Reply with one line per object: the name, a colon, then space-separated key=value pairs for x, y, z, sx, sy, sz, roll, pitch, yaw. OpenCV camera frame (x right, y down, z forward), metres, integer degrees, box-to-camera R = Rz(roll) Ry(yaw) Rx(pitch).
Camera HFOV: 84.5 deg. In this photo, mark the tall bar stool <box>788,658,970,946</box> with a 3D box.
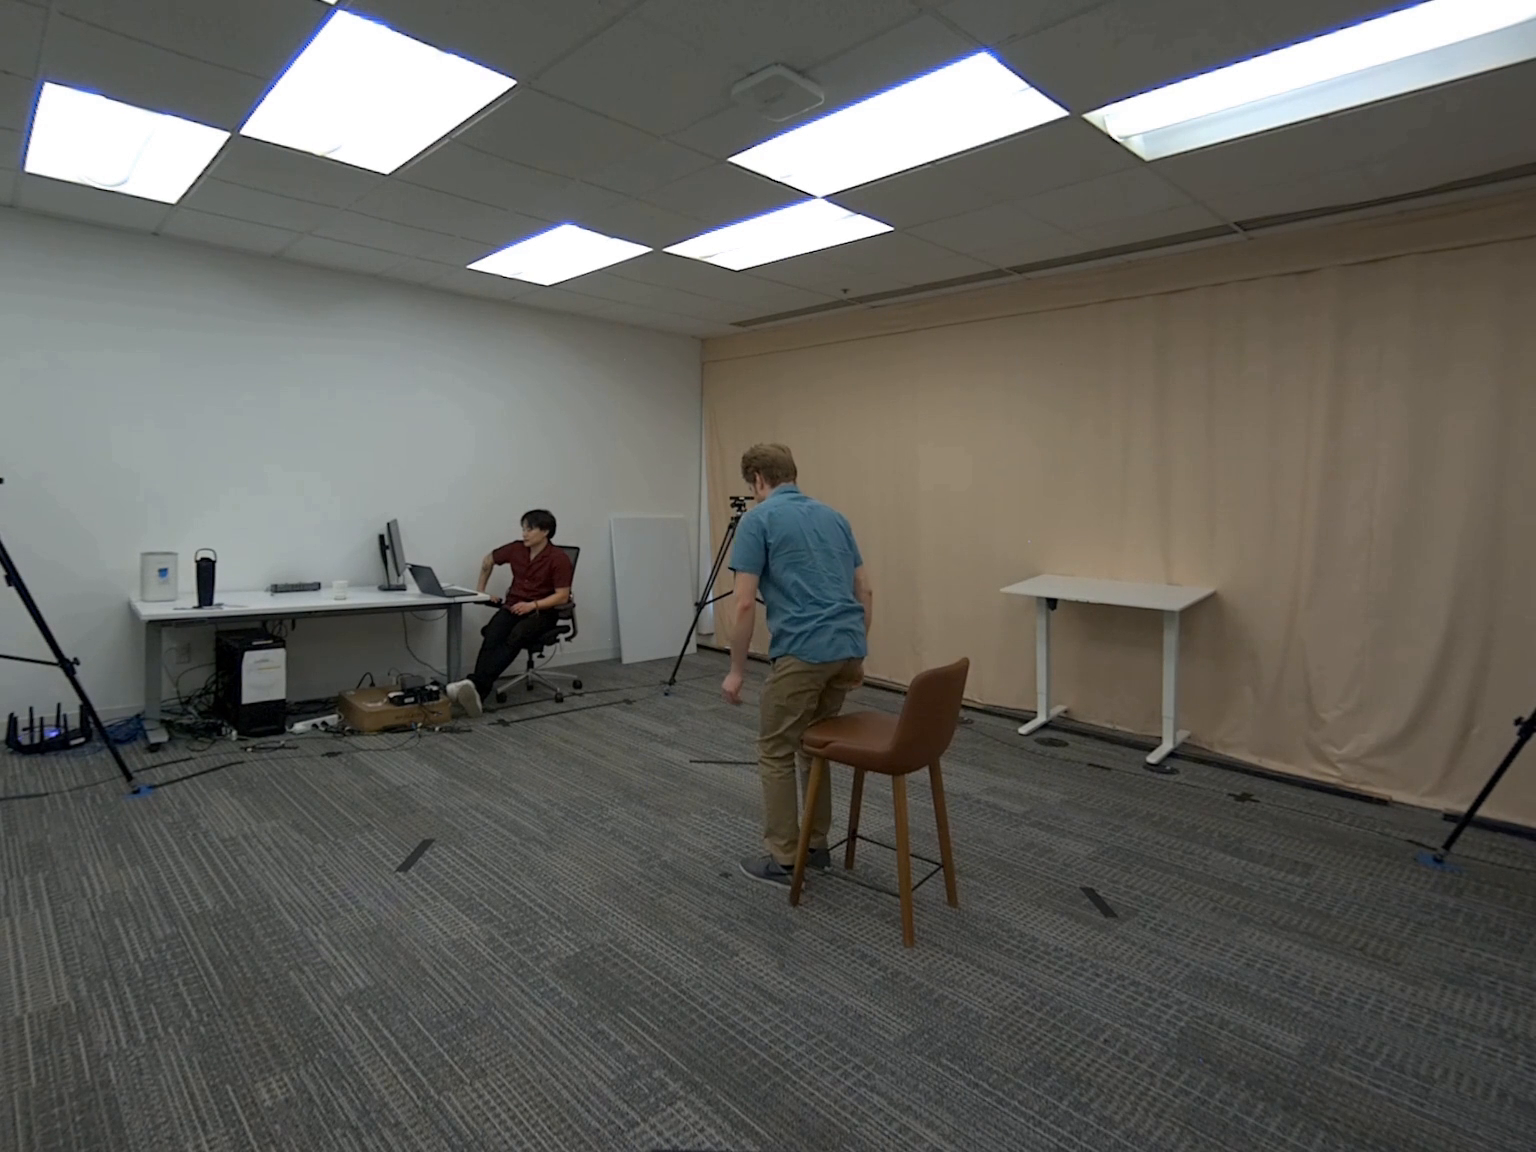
tall bar stool: x=0.377 y=0.698 z=2.877 sx=0.479 sy=0.886 sz=0.447 roll=7 pitch=7 yaw=36
